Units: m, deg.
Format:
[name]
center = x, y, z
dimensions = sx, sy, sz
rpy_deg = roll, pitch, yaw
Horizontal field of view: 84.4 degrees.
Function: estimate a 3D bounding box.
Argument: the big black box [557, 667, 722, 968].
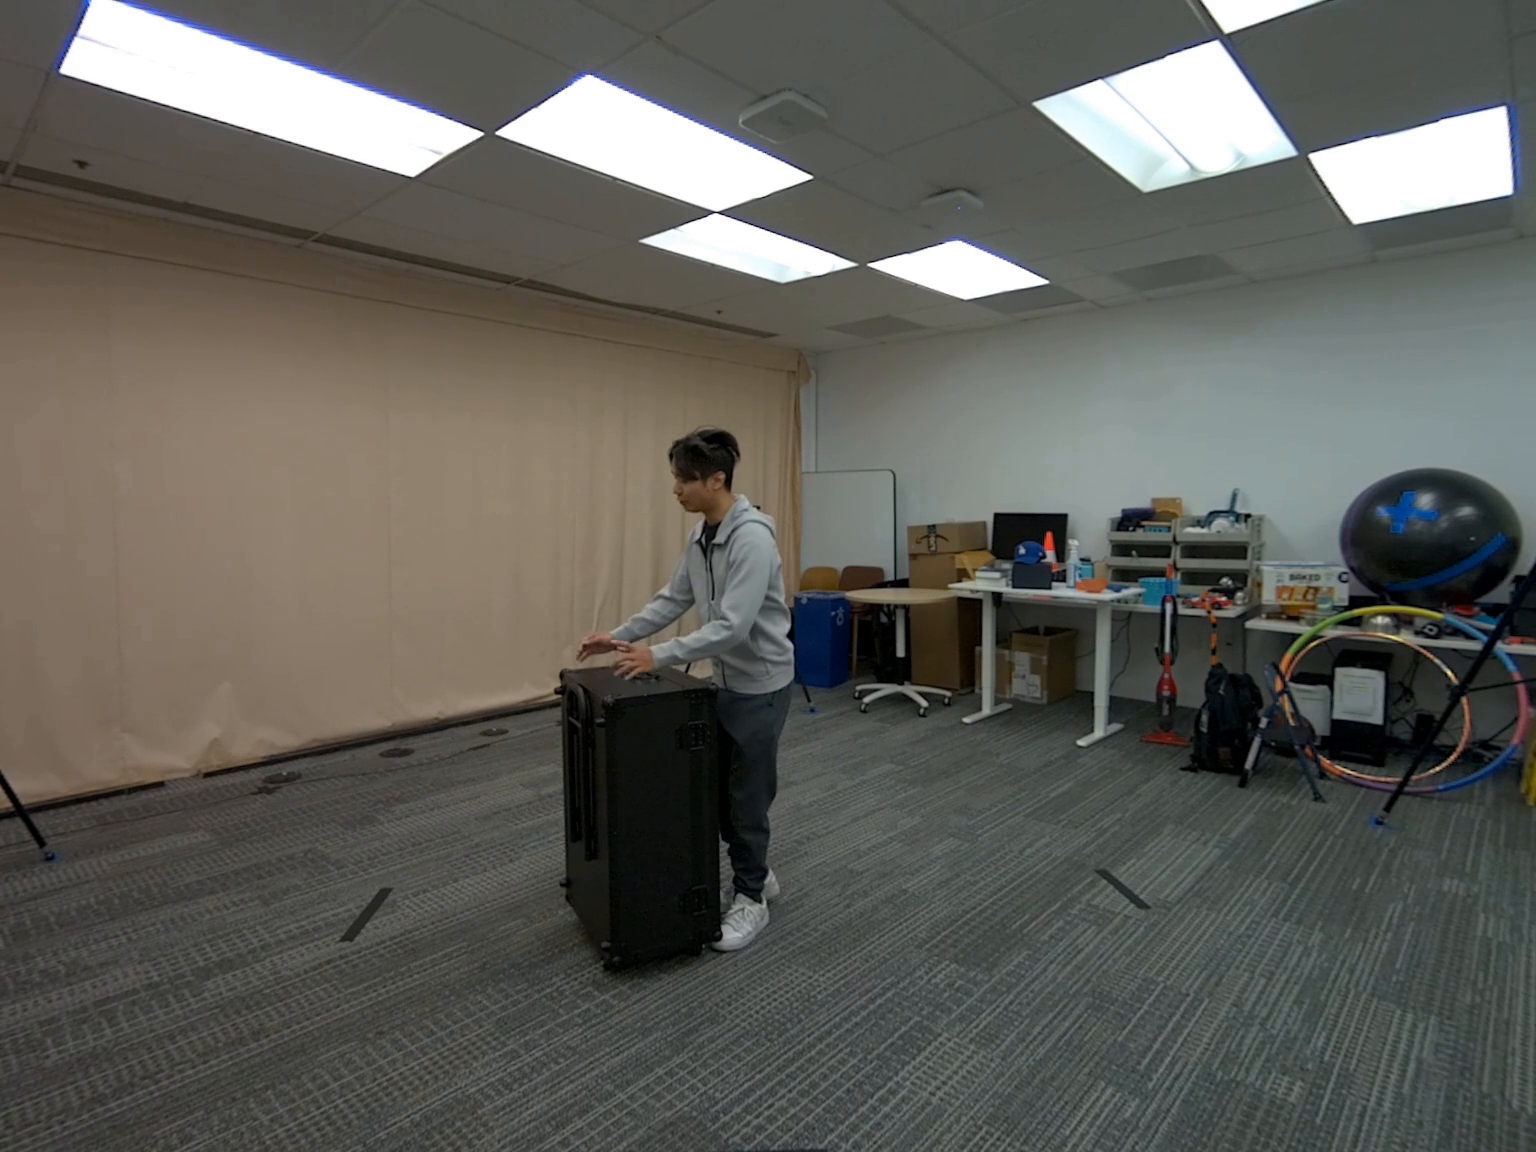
[big black box]
center = -0.424, 0.749, 2.669
dimensions = 0.386, 0.860, 0.535
rpy_deg = -2, 3, -27
